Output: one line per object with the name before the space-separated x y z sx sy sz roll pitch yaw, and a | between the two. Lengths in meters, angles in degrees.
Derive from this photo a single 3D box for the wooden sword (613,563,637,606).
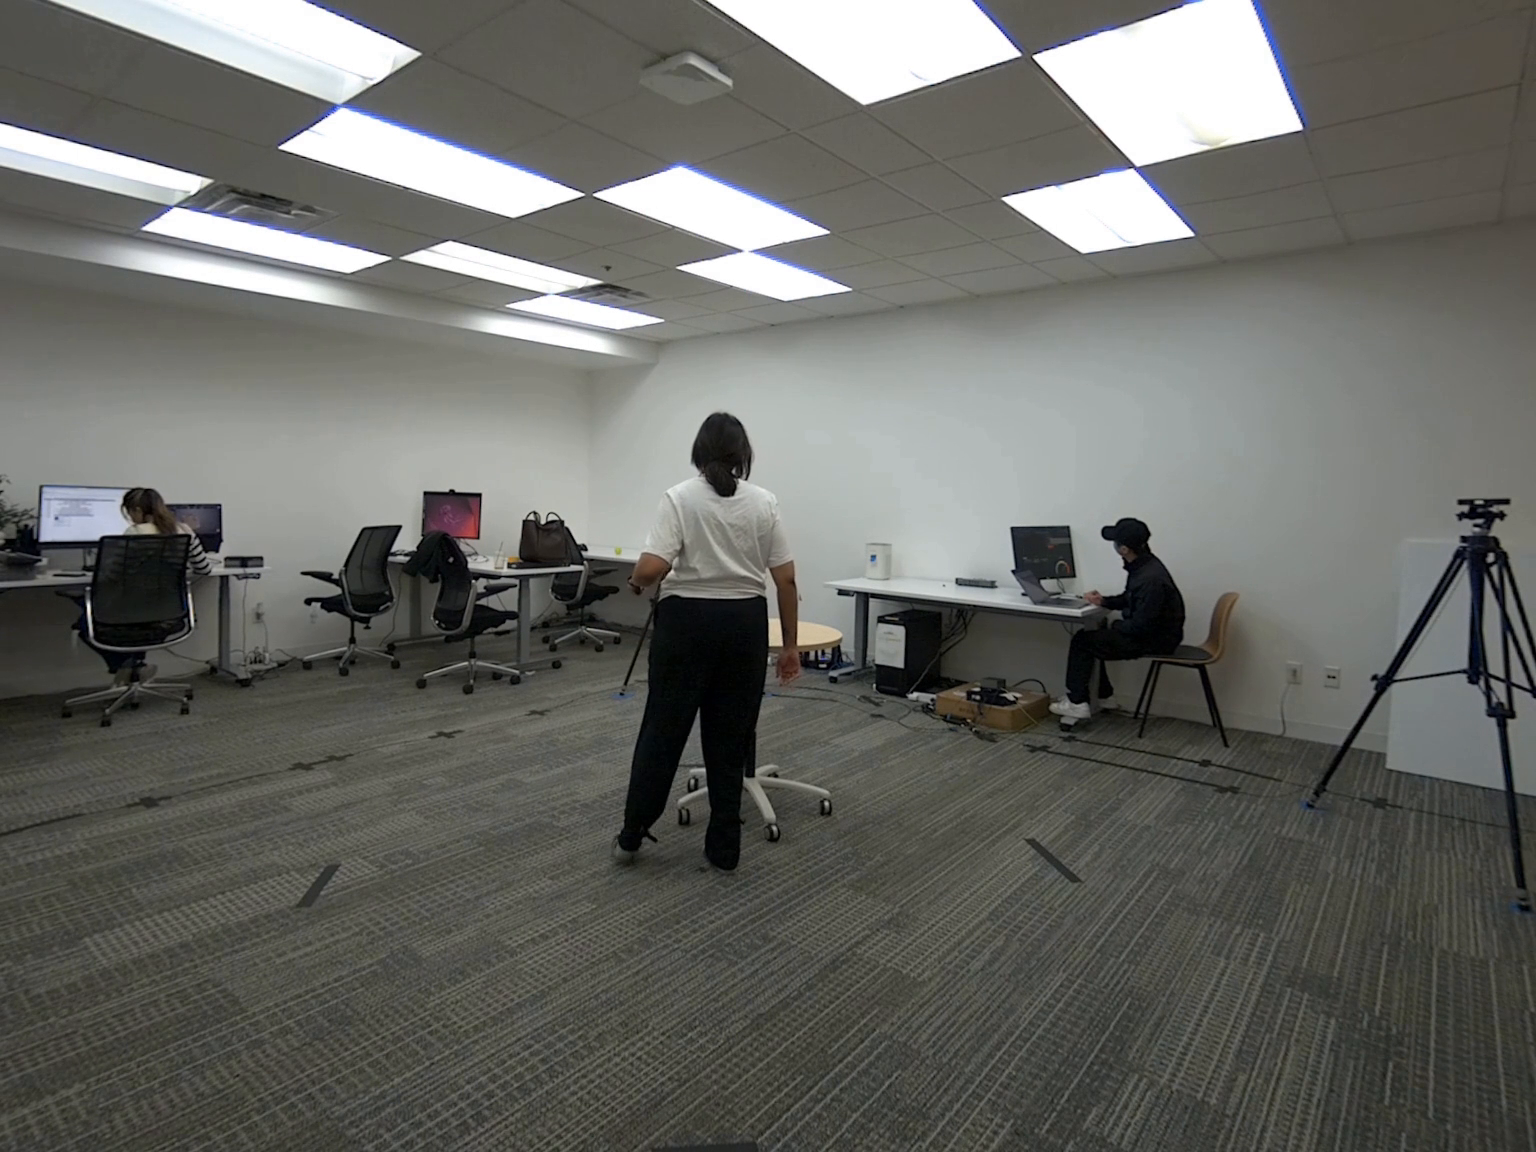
wooden sword | -0.510 -0.090 3.629 0.051 0.024 1.036 21 20 -3
